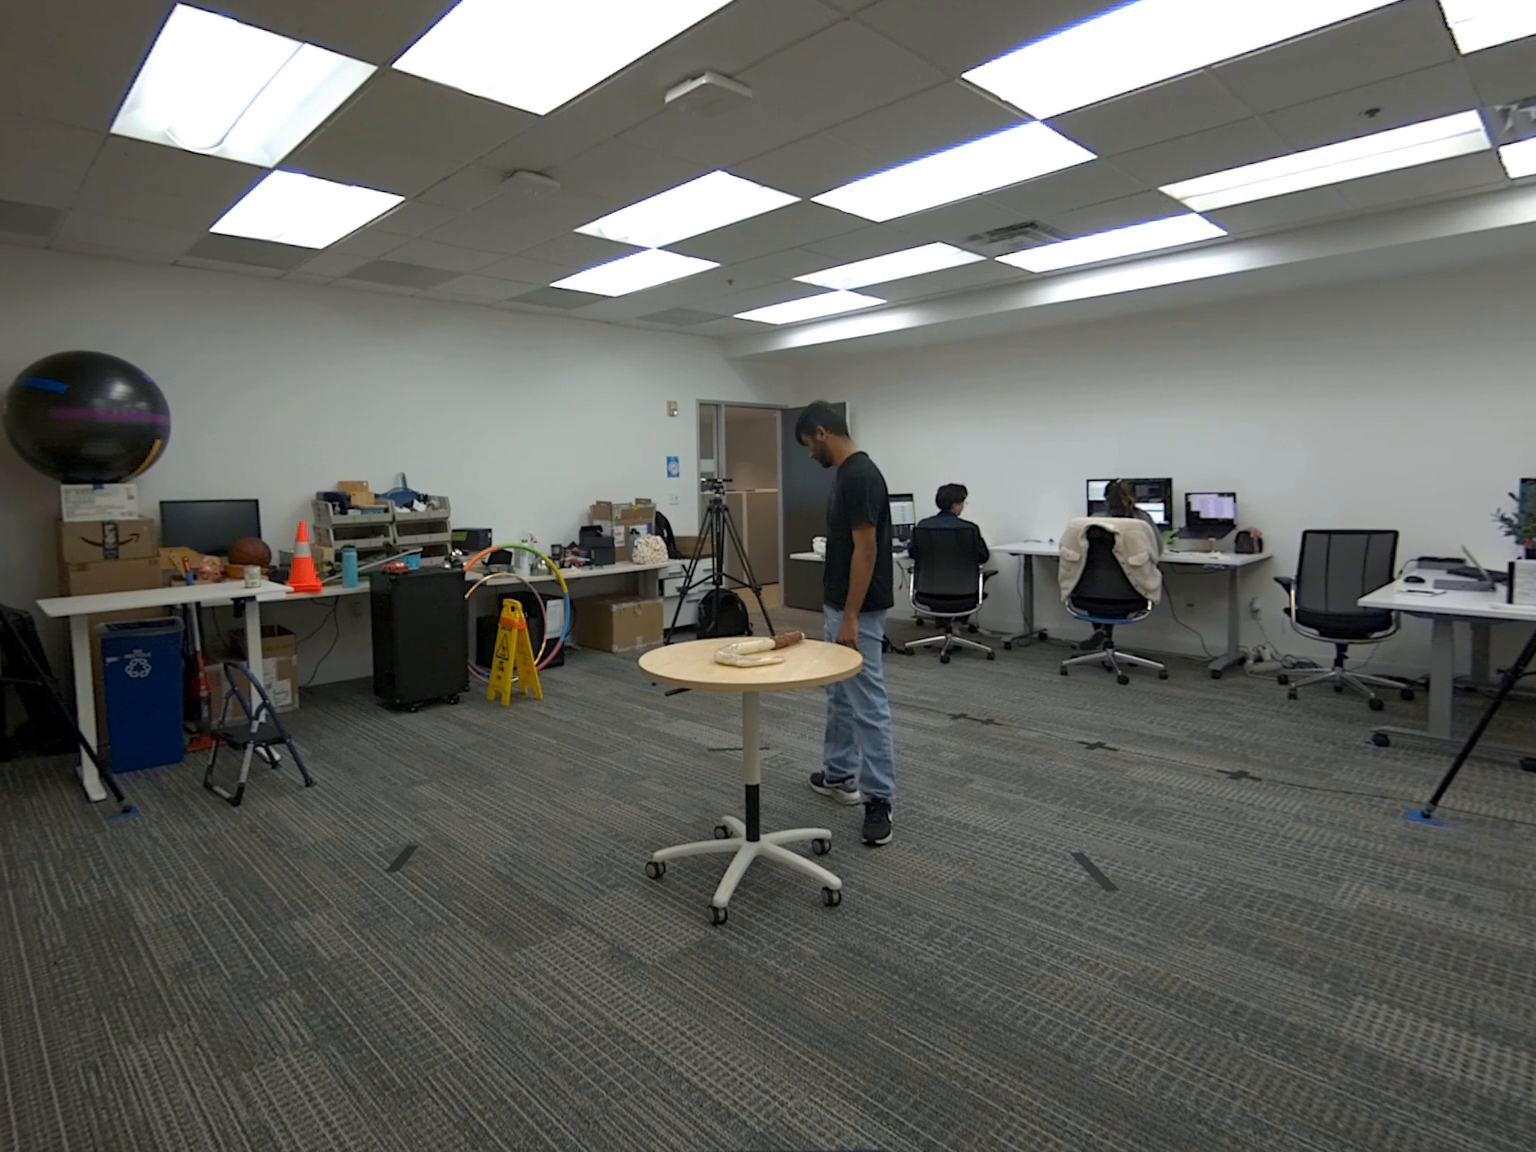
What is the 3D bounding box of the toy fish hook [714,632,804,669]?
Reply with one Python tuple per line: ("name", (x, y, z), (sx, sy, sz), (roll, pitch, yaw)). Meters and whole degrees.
("toy fish hook", (0.020, 0.260, 2.994), (0.232, 0.048, 0.494), (10, 13, 37))
